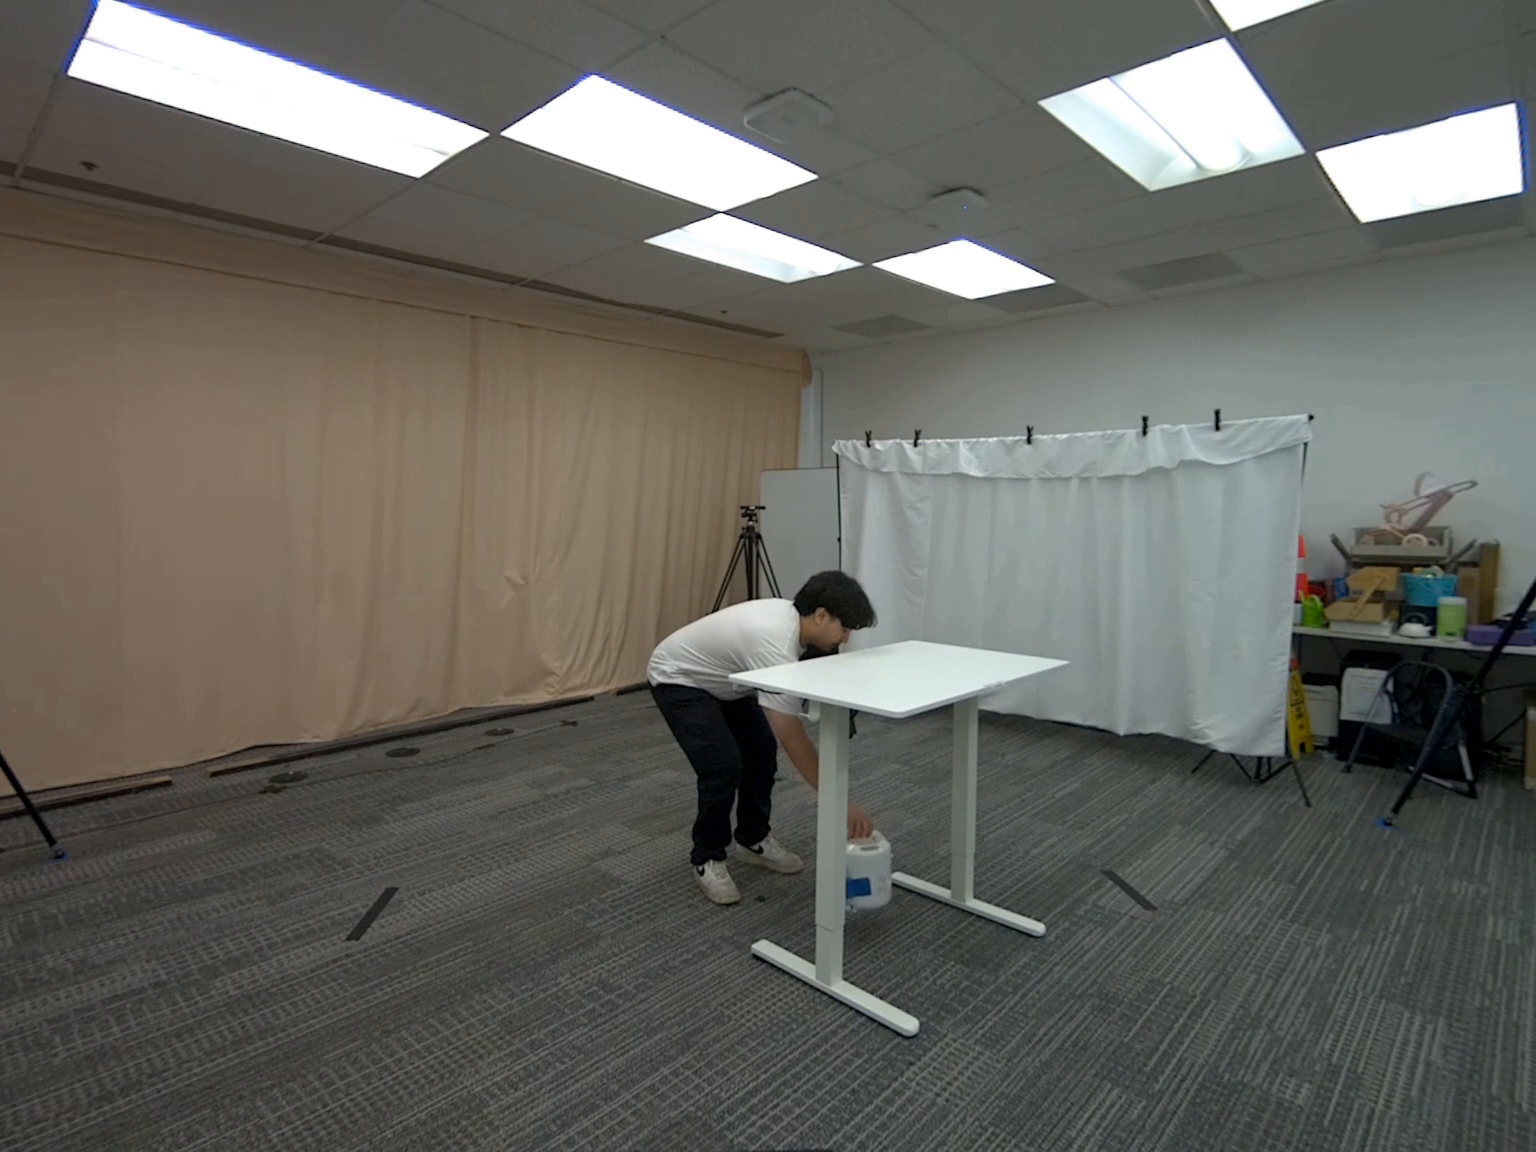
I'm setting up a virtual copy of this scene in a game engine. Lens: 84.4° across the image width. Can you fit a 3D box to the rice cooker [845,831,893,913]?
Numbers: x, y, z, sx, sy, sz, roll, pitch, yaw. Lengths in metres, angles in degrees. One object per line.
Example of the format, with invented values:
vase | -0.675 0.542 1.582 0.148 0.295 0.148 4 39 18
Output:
rice cooker | 0.298 0.947 2.757 0.218 0.233 0.220 -1 1 -13
